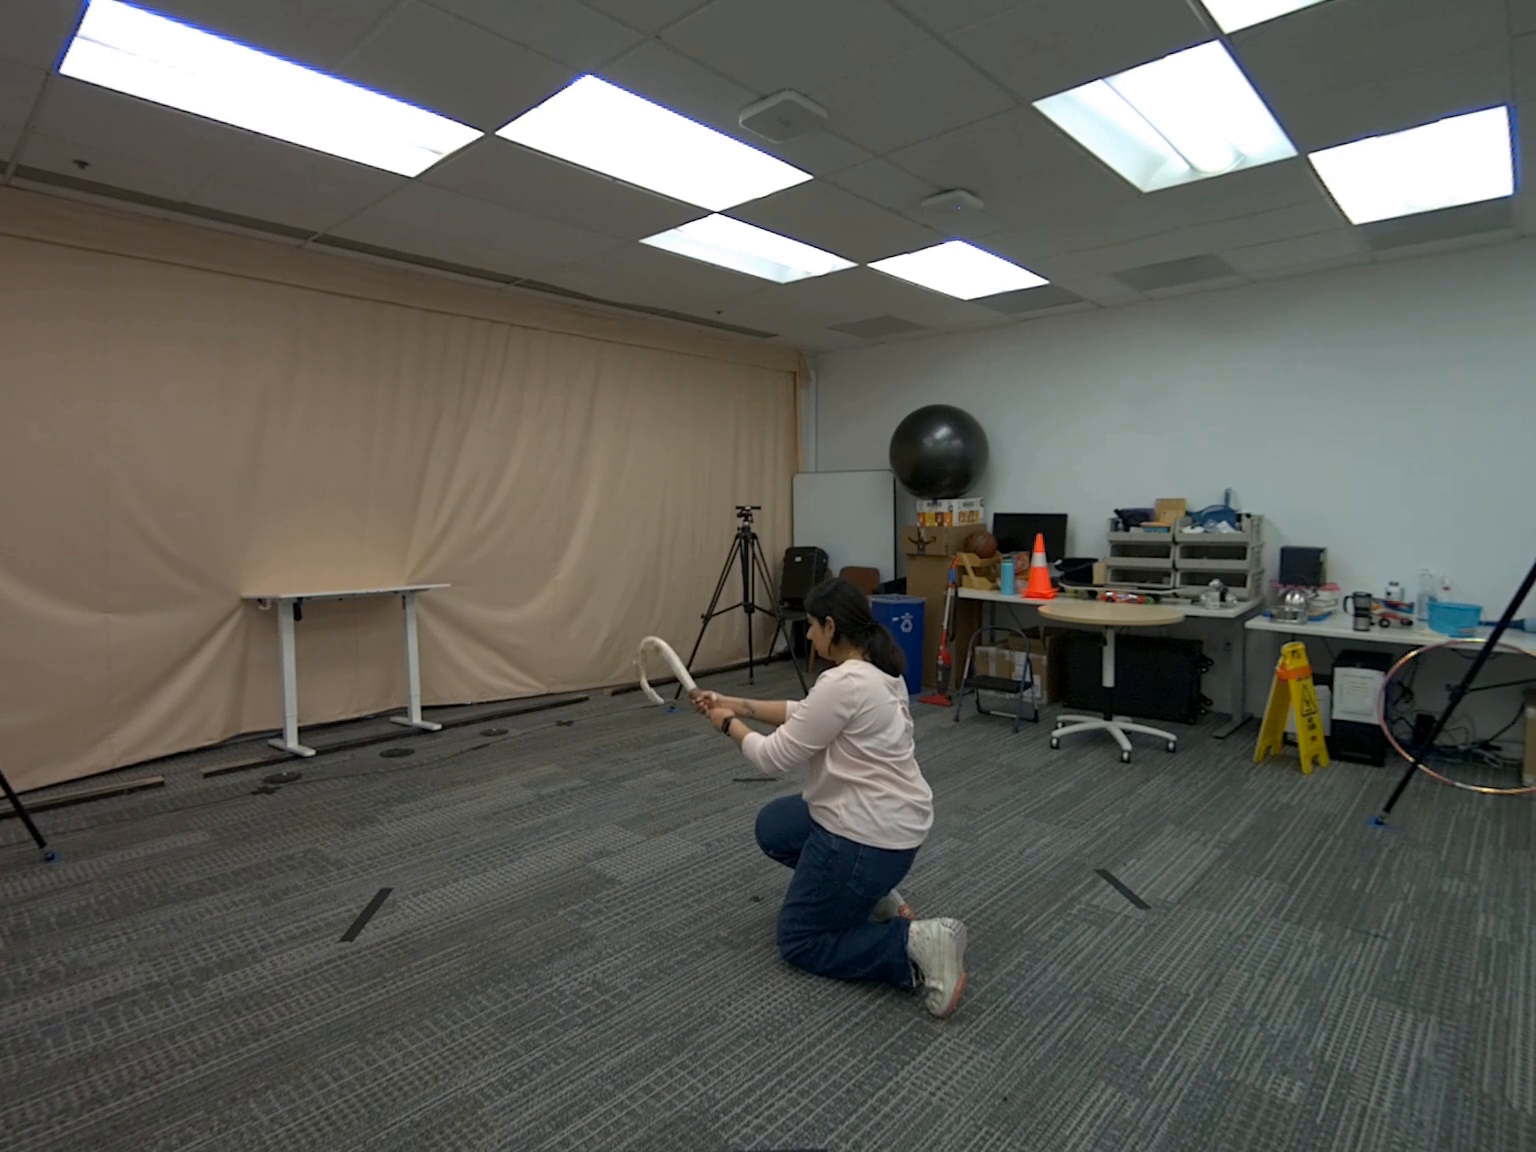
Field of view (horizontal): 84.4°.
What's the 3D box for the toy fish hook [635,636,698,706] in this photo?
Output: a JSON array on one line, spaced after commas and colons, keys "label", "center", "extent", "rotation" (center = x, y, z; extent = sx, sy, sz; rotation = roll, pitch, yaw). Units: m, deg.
[{"label": "toy fish hook", "center": [-0.291, 0.405, 2.922], "extent": [0.047, 0.223, 0.525], "rotation": [-7, 36, -45]}]
